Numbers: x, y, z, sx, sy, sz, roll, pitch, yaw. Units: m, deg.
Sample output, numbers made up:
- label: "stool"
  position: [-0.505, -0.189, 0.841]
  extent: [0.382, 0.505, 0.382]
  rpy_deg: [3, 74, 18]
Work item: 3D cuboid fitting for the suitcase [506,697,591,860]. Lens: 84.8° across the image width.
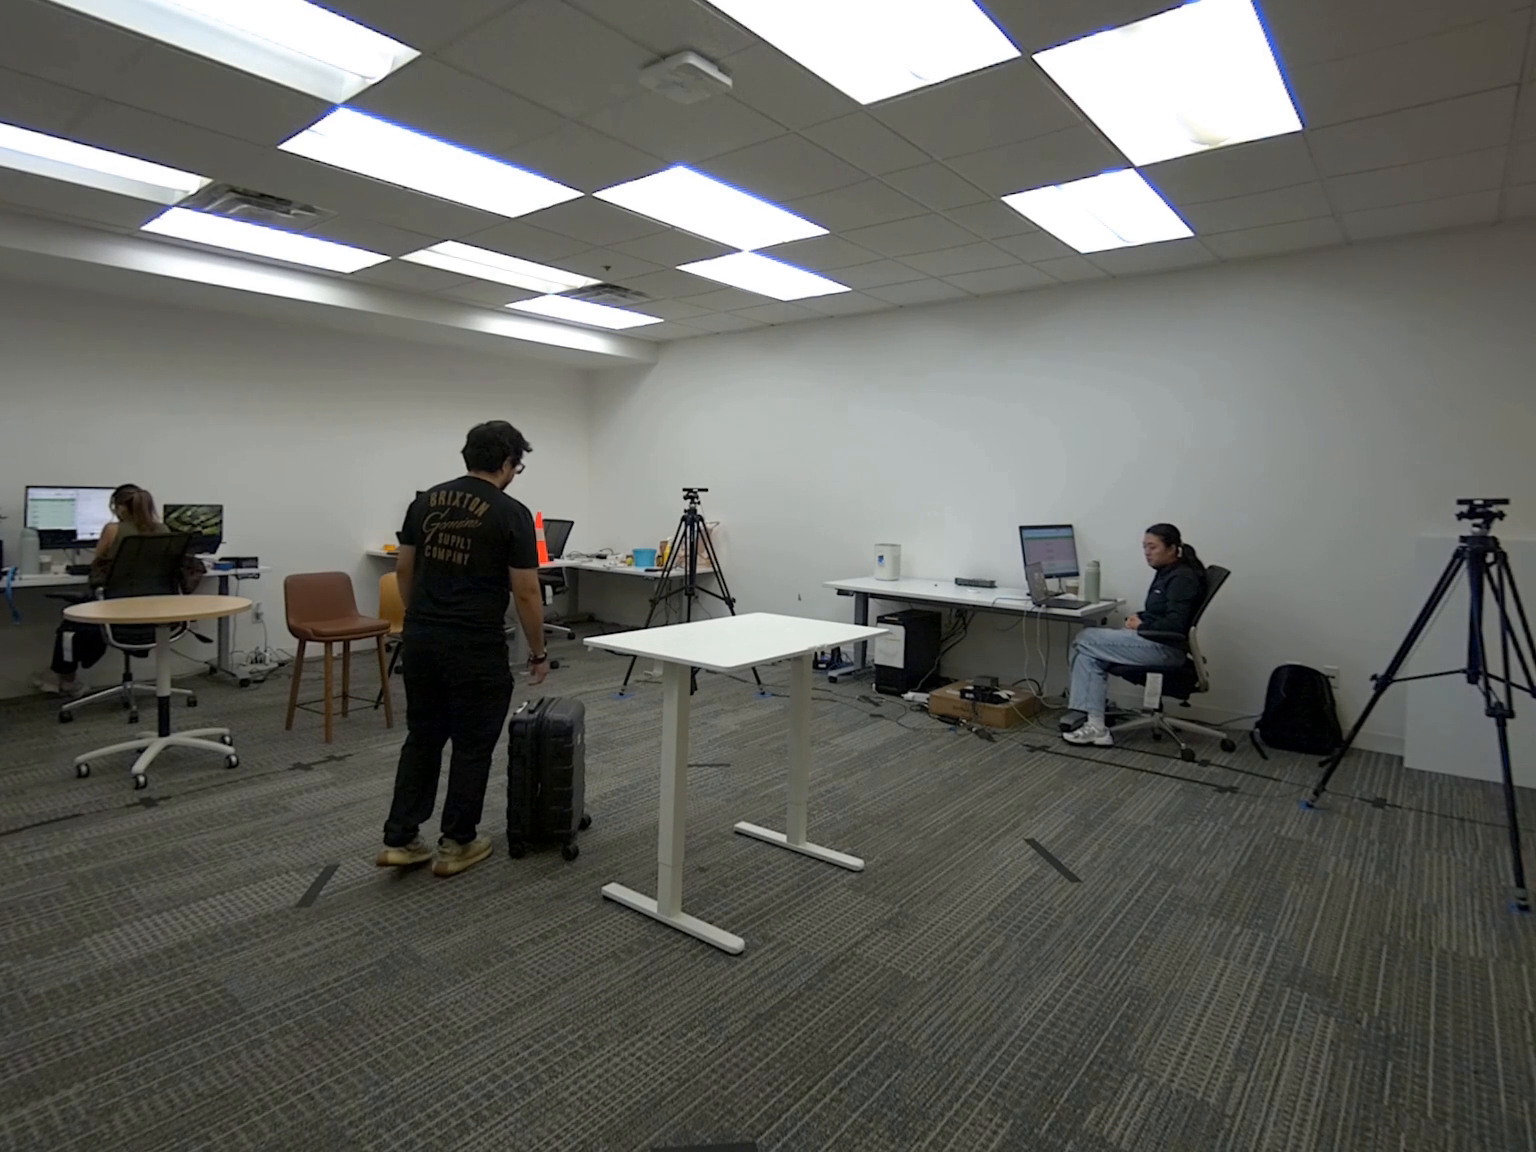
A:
- label: "suitcase"
  position: [-0.874, 0.763, 3.327]
  extent: [0.247, 0.548, 0.378]
  rpy_deg: [0, 3, -4]
